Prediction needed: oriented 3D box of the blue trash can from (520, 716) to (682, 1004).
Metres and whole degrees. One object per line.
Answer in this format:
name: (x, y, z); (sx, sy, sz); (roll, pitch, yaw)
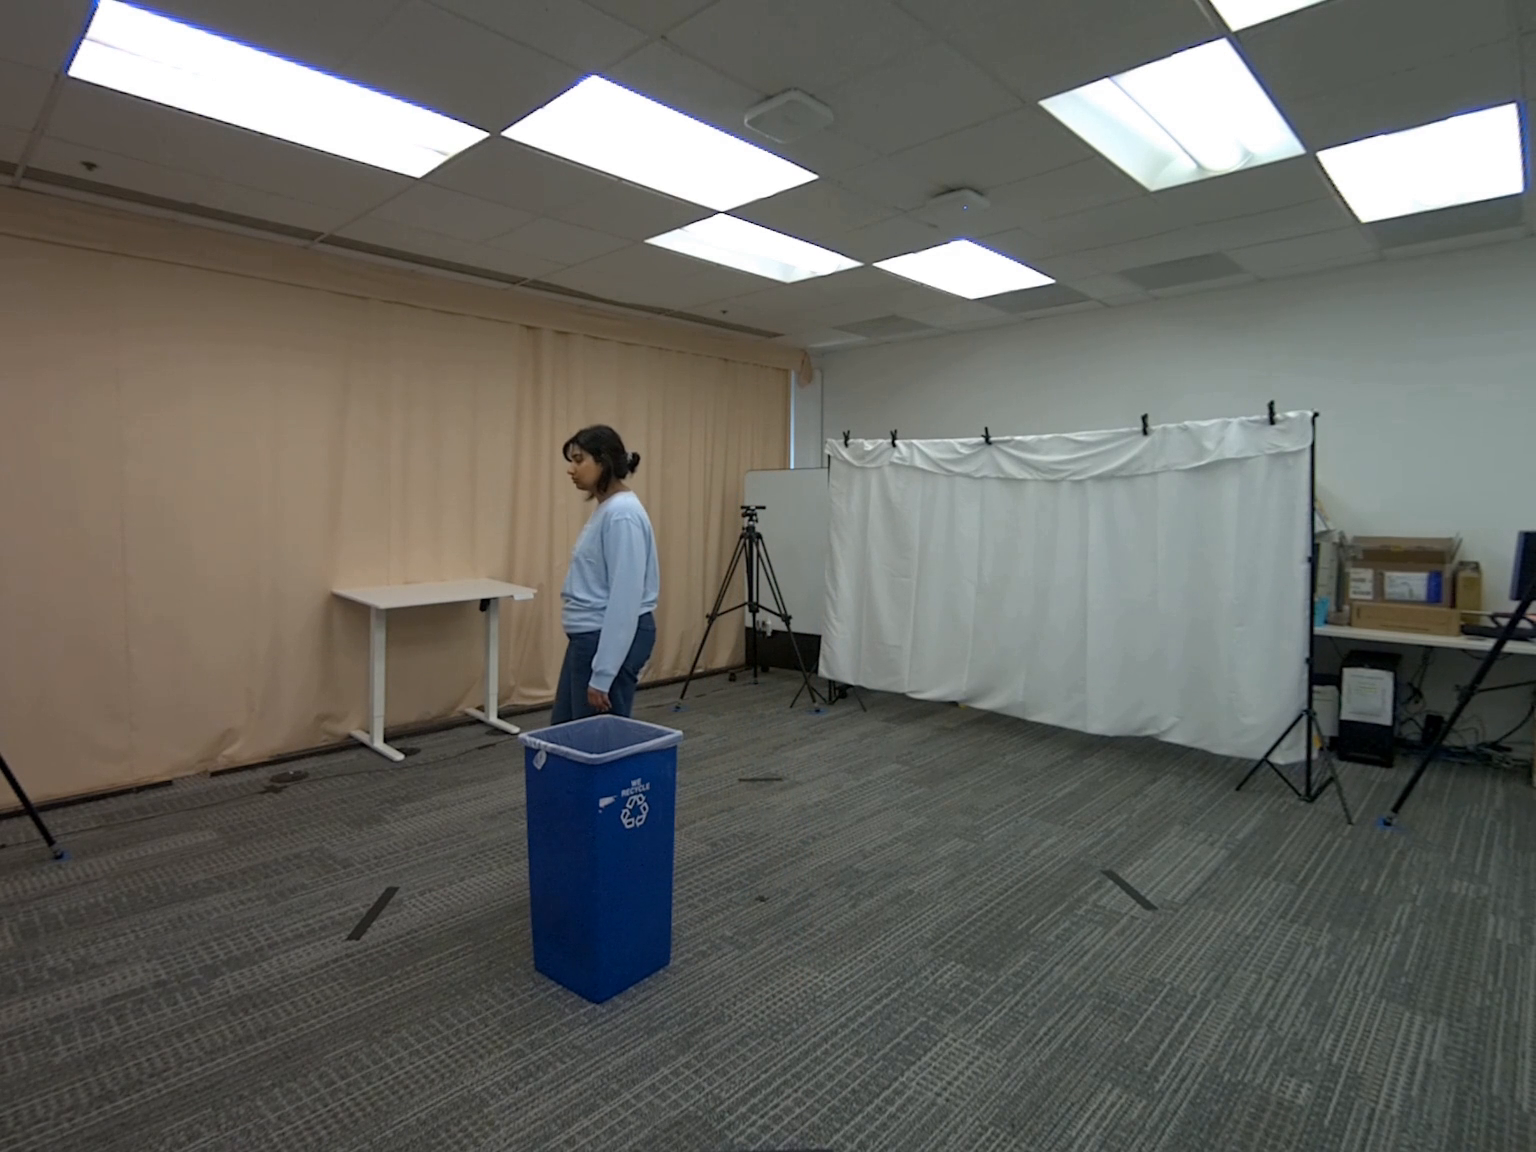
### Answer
blue trash can: (-0.491, 0.829, 2.537); (0.386, 0.712, 0.366); (2, 3, 39)
